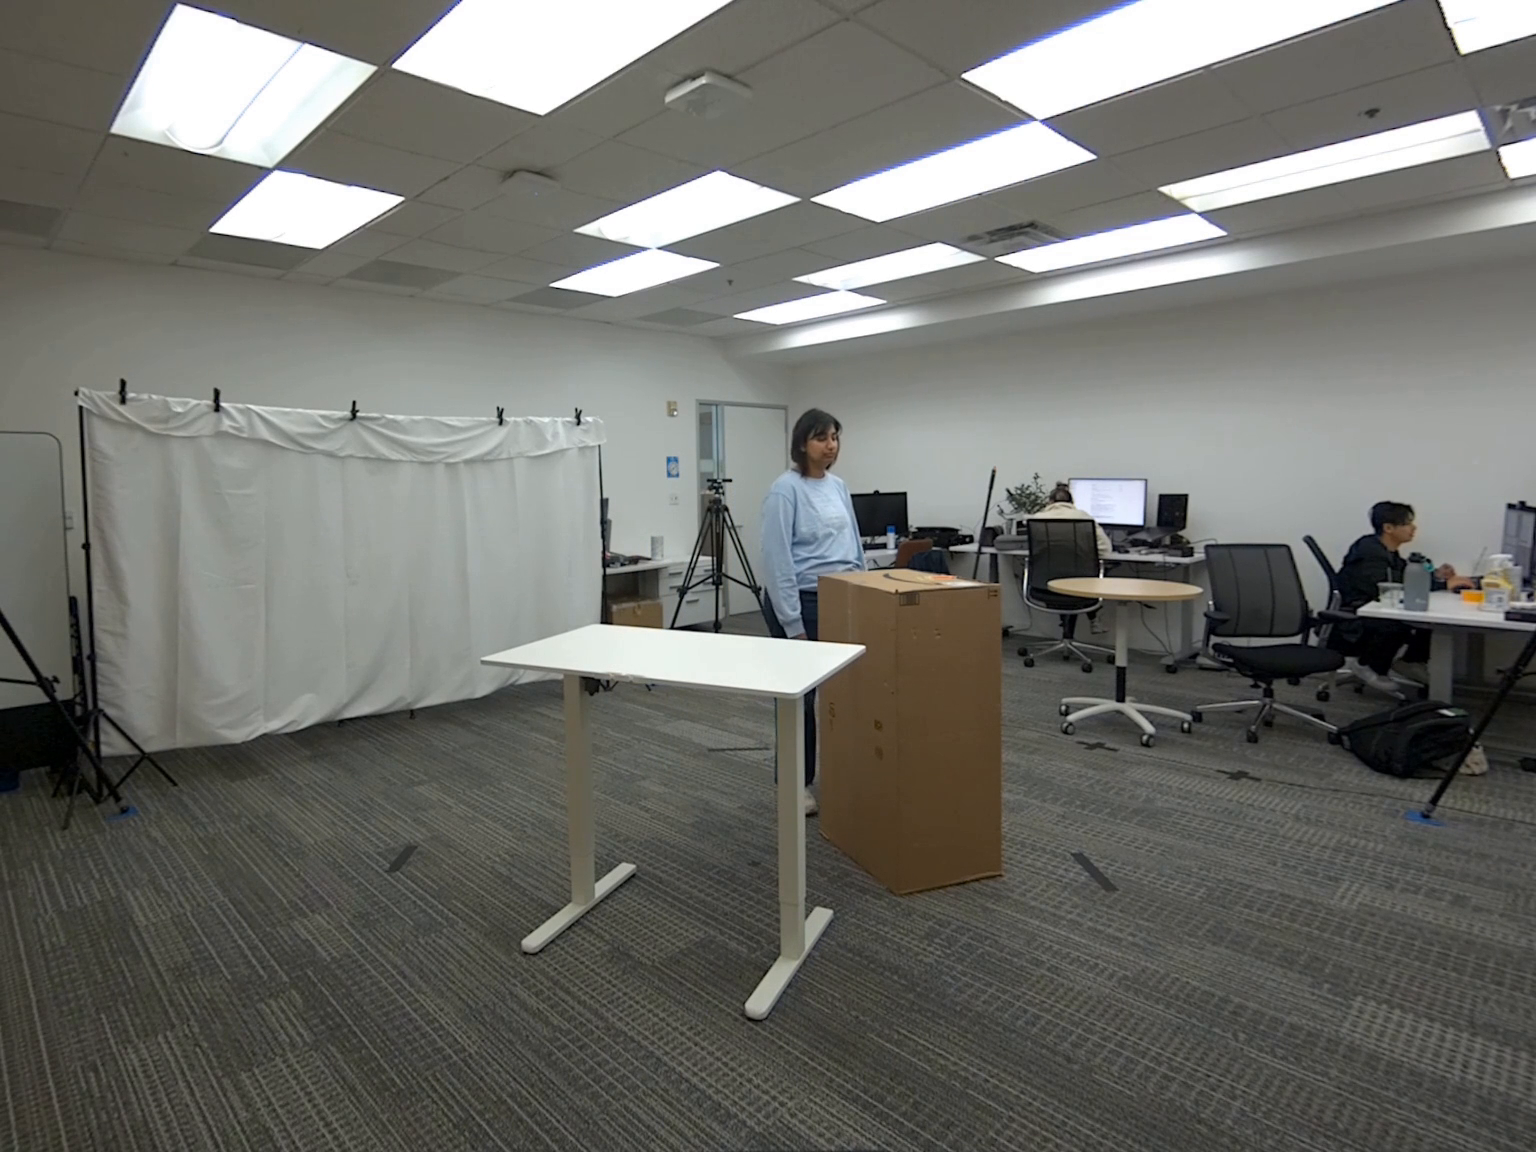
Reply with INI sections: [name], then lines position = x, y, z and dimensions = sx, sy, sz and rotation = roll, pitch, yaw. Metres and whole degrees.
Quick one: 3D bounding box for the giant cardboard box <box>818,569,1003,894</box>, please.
[giant cardboard box]
position = 0.509, 0.522, 3.146
dimensions = 0.418, 1.022, 0.591
rotation = -2, 4, -23
